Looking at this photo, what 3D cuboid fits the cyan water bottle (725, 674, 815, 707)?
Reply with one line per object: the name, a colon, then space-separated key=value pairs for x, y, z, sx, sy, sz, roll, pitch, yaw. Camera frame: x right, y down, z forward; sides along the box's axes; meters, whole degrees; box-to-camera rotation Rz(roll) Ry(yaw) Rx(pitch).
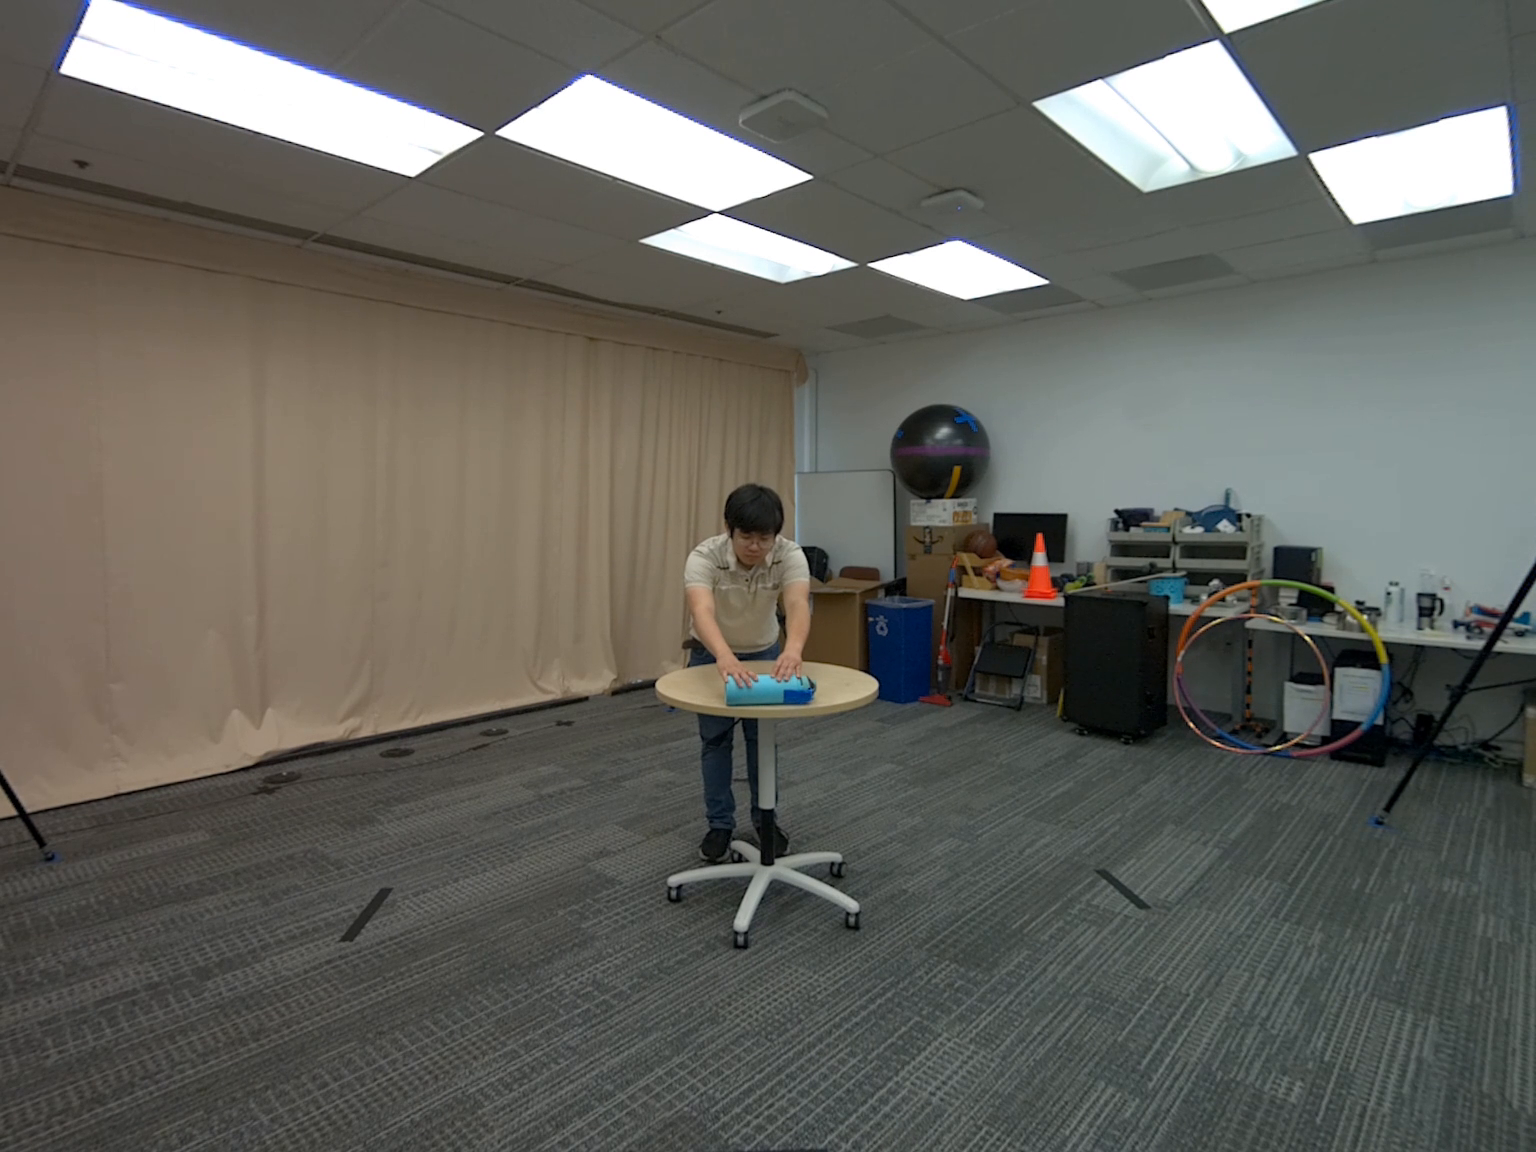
cyan water bottle: x=0.012 y=0.359 z=2.596 sx=0.283 sy=0.092 sz=0.093 roll=1 pitch=4 yaw=-2
